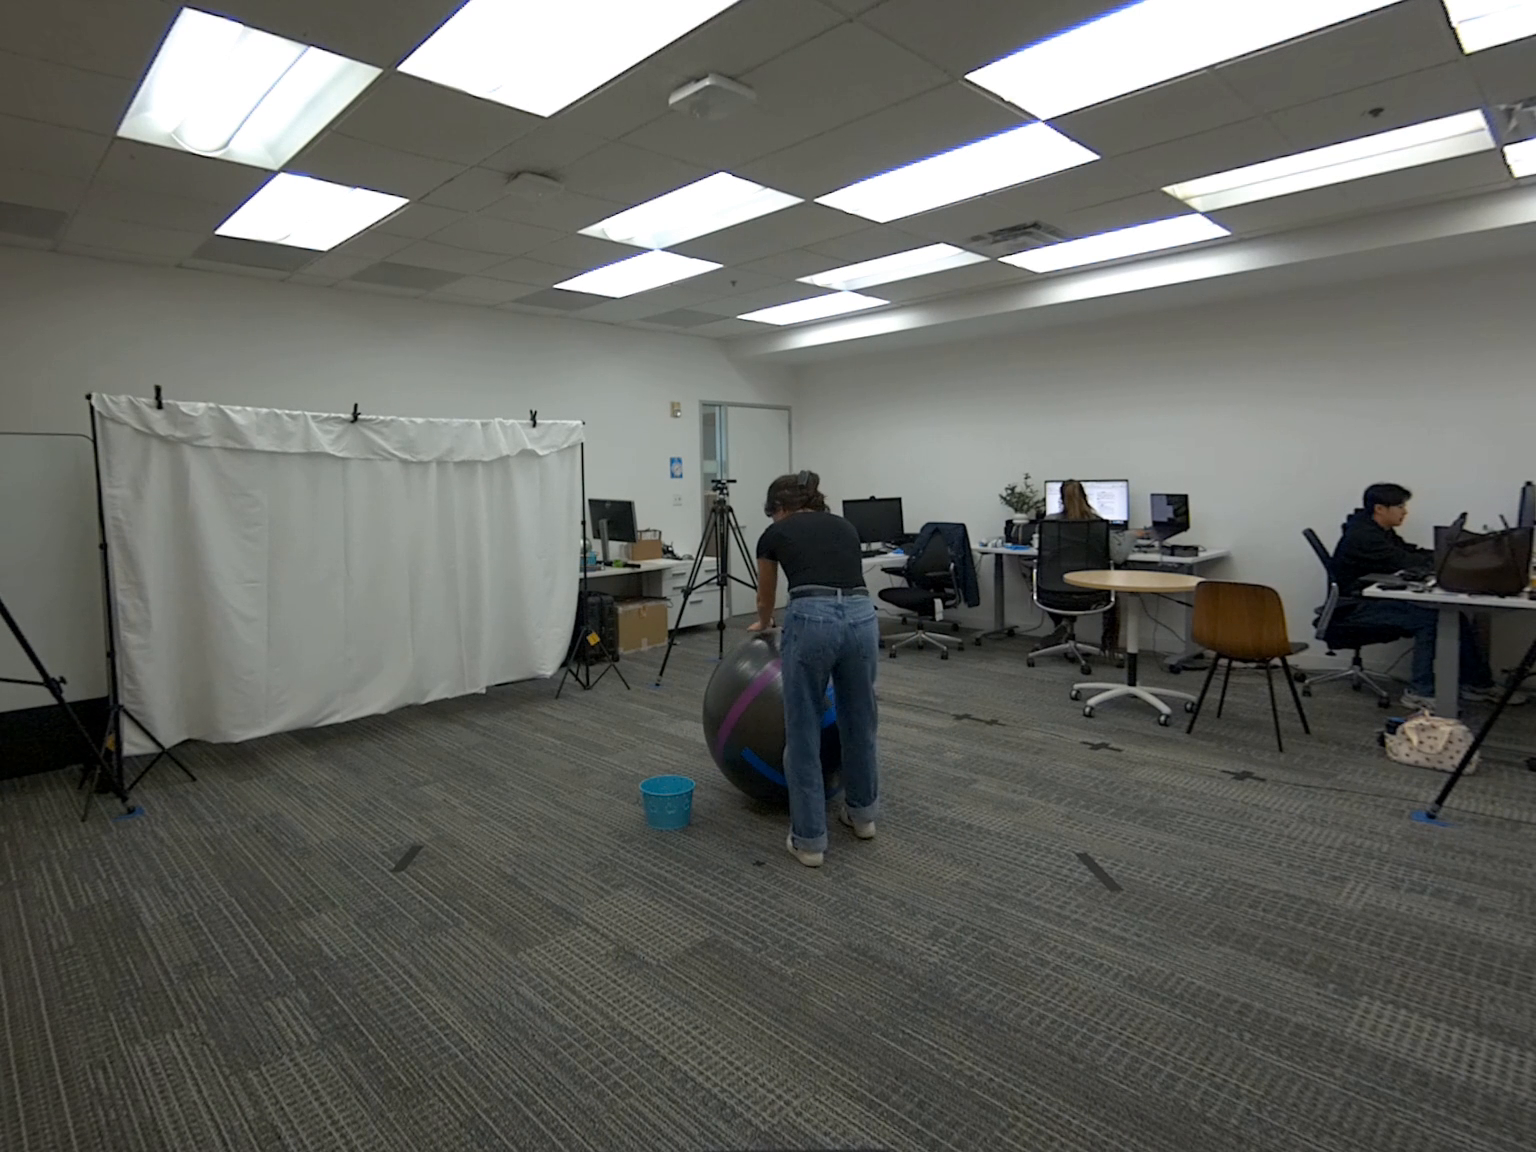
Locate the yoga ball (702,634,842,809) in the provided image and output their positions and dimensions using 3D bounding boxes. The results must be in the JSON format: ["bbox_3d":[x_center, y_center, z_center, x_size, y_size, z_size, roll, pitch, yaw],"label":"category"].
[{"bbox_3d":[0.096,0.606,3.713,0.757,0.755,0.762,-1,5,-2],"label":"yoga ball"}]
